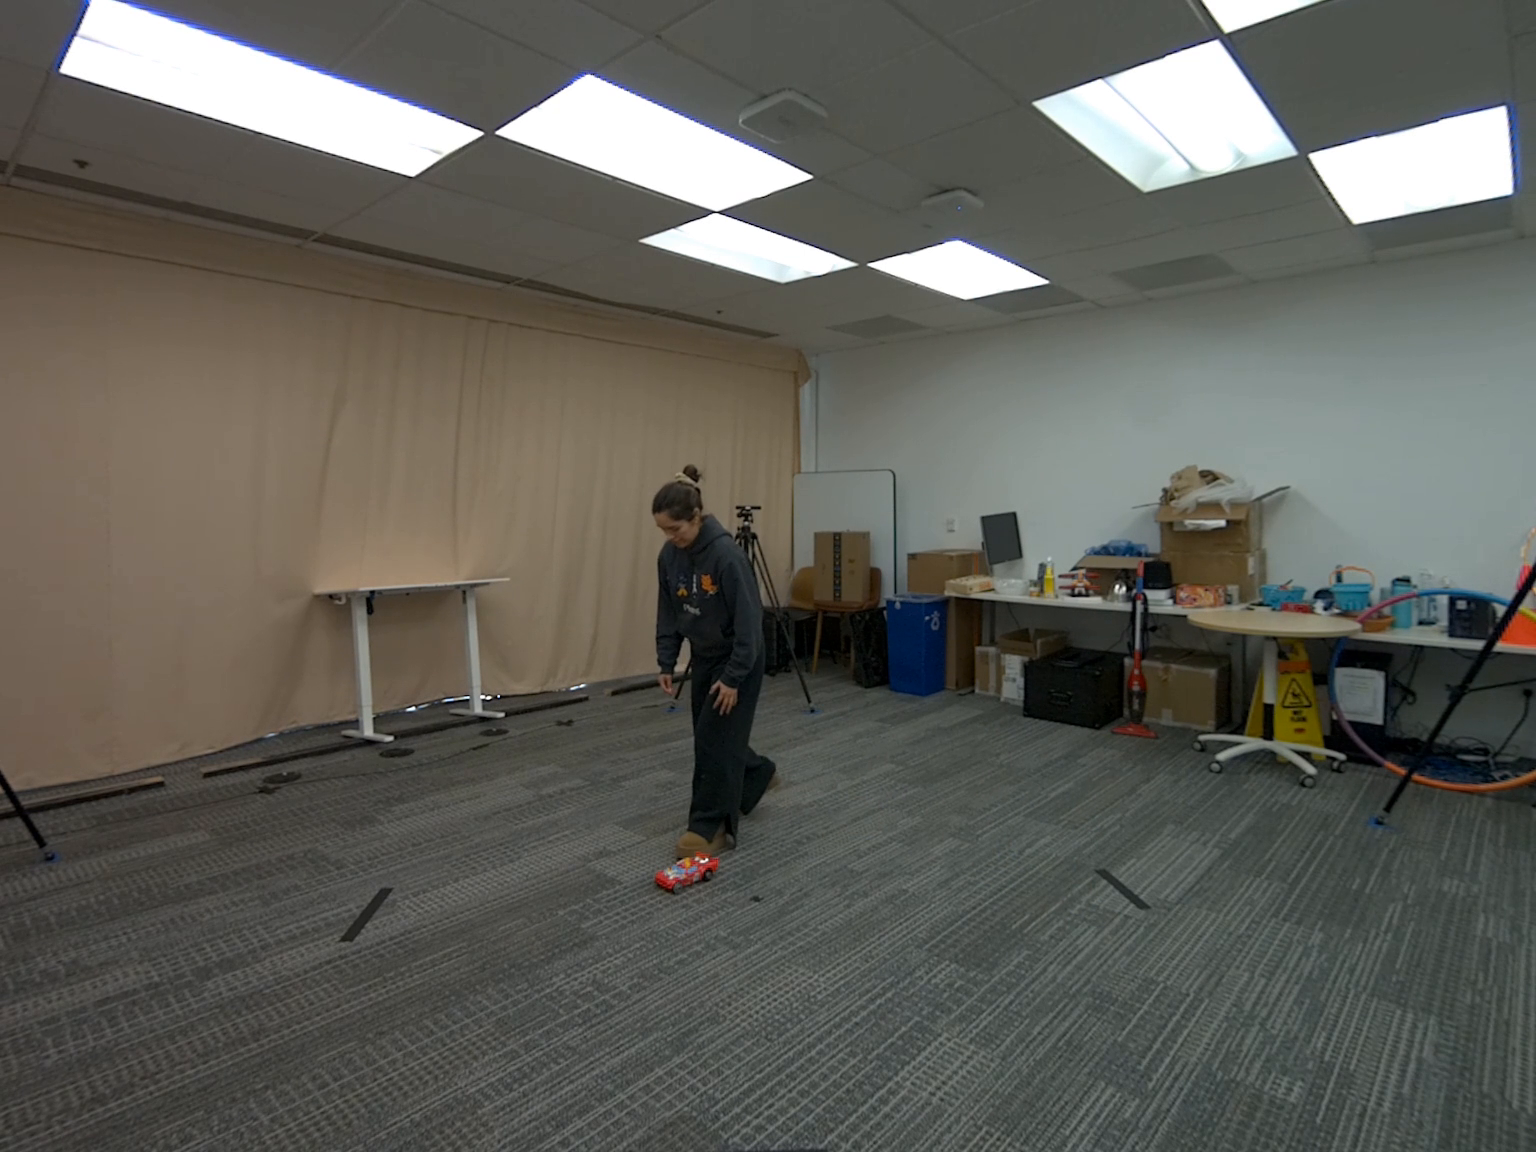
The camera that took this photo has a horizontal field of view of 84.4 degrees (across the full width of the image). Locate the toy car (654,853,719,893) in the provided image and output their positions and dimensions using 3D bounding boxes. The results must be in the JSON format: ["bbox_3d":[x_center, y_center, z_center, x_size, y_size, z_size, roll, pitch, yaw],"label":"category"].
[{"bbox_3d":[-0.283,1.104,3.132,0.248,0.082,0.134,-19,15,-39],"label":"toy car"}]
